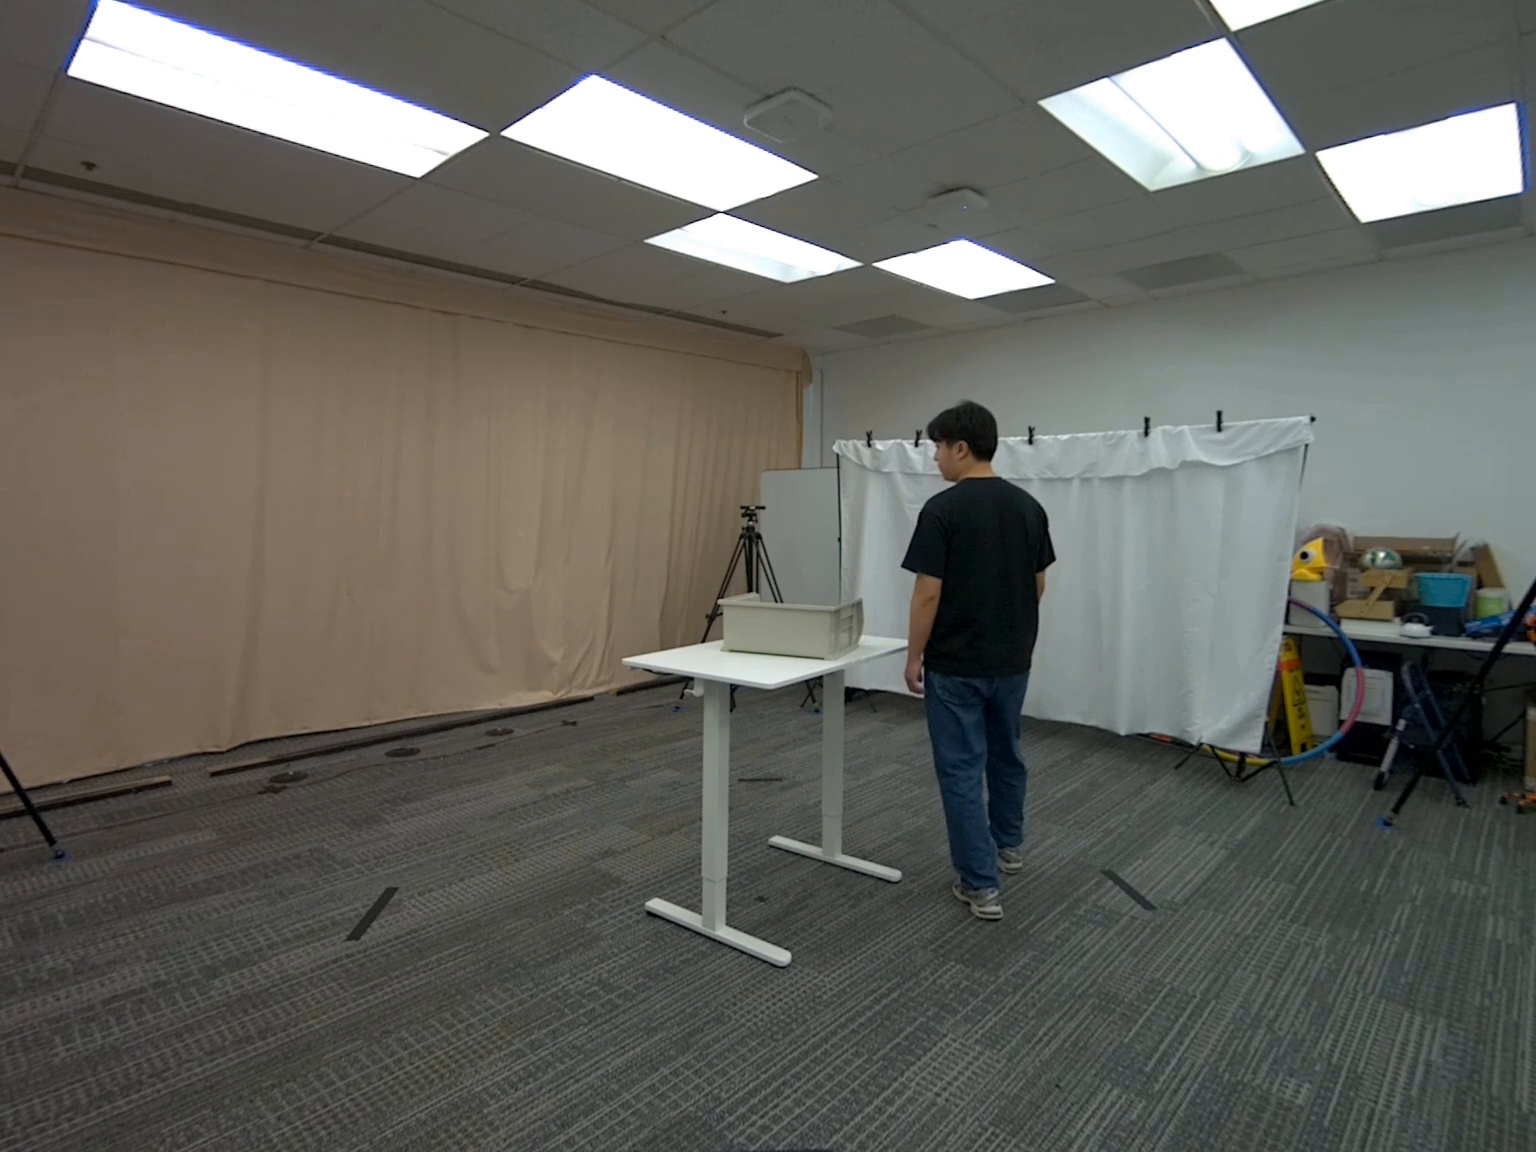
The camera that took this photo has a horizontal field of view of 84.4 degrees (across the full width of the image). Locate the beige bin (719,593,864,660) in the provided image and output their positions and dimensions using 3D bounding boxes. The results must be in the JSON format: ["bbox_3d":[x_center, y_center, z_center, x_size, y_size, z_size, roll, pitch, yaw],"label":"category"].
[{"bbox_3d":[0.094,0.173,3.000,0.433,0.188,0.369,3,7,25],"label":"beige bin"}]
